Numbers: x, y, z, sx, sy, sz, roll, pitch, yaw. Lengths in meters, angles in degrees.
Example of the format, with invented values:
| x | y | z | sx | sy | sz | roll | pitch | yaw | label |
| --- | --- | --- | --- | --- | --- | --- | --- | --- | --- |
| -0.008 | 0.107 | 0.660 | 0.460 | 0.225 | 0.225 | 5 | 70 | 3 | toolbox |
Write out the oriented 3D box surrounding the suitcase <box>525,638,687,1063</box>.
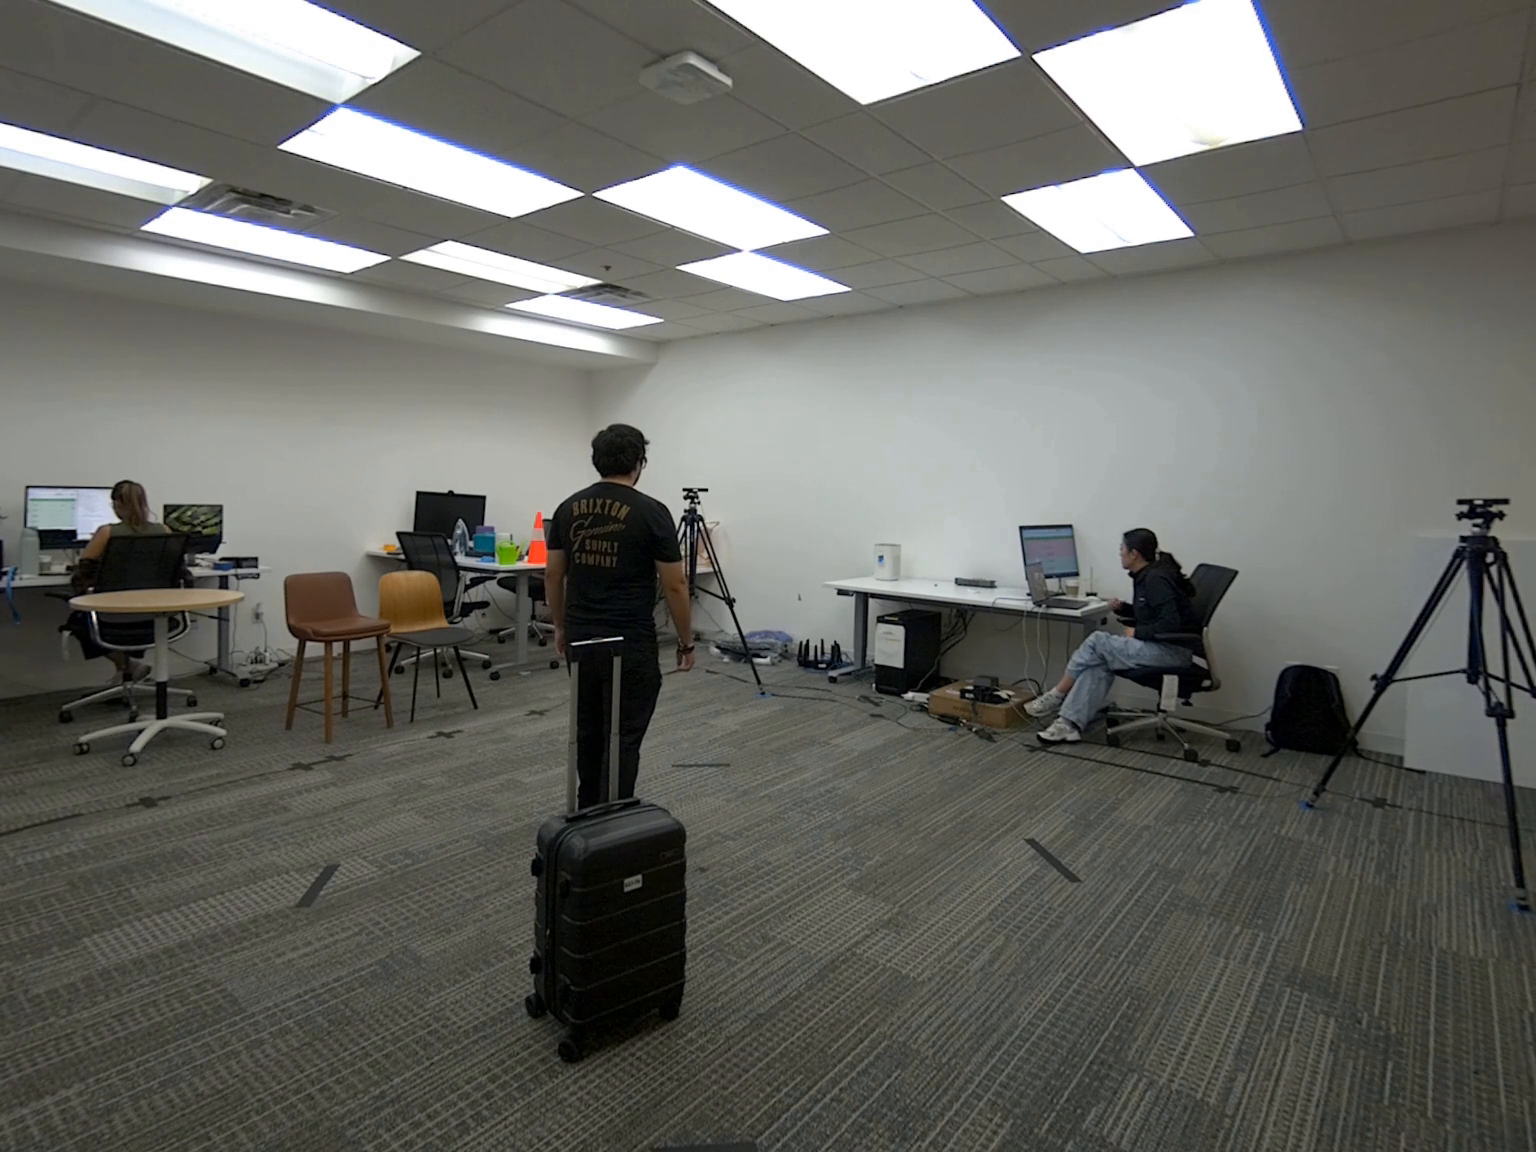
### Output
| x | y | z | sx | sy | sz | roll | pitch | yaw | label |
| --- | --- | --- | --- | --- | --- | --- | --- | --- | --- |
| -0.406 | 0.678 | 2.204 | 0.372 | 0.975 | 0.266 | 0 | 6 | -38 | suitcase |
